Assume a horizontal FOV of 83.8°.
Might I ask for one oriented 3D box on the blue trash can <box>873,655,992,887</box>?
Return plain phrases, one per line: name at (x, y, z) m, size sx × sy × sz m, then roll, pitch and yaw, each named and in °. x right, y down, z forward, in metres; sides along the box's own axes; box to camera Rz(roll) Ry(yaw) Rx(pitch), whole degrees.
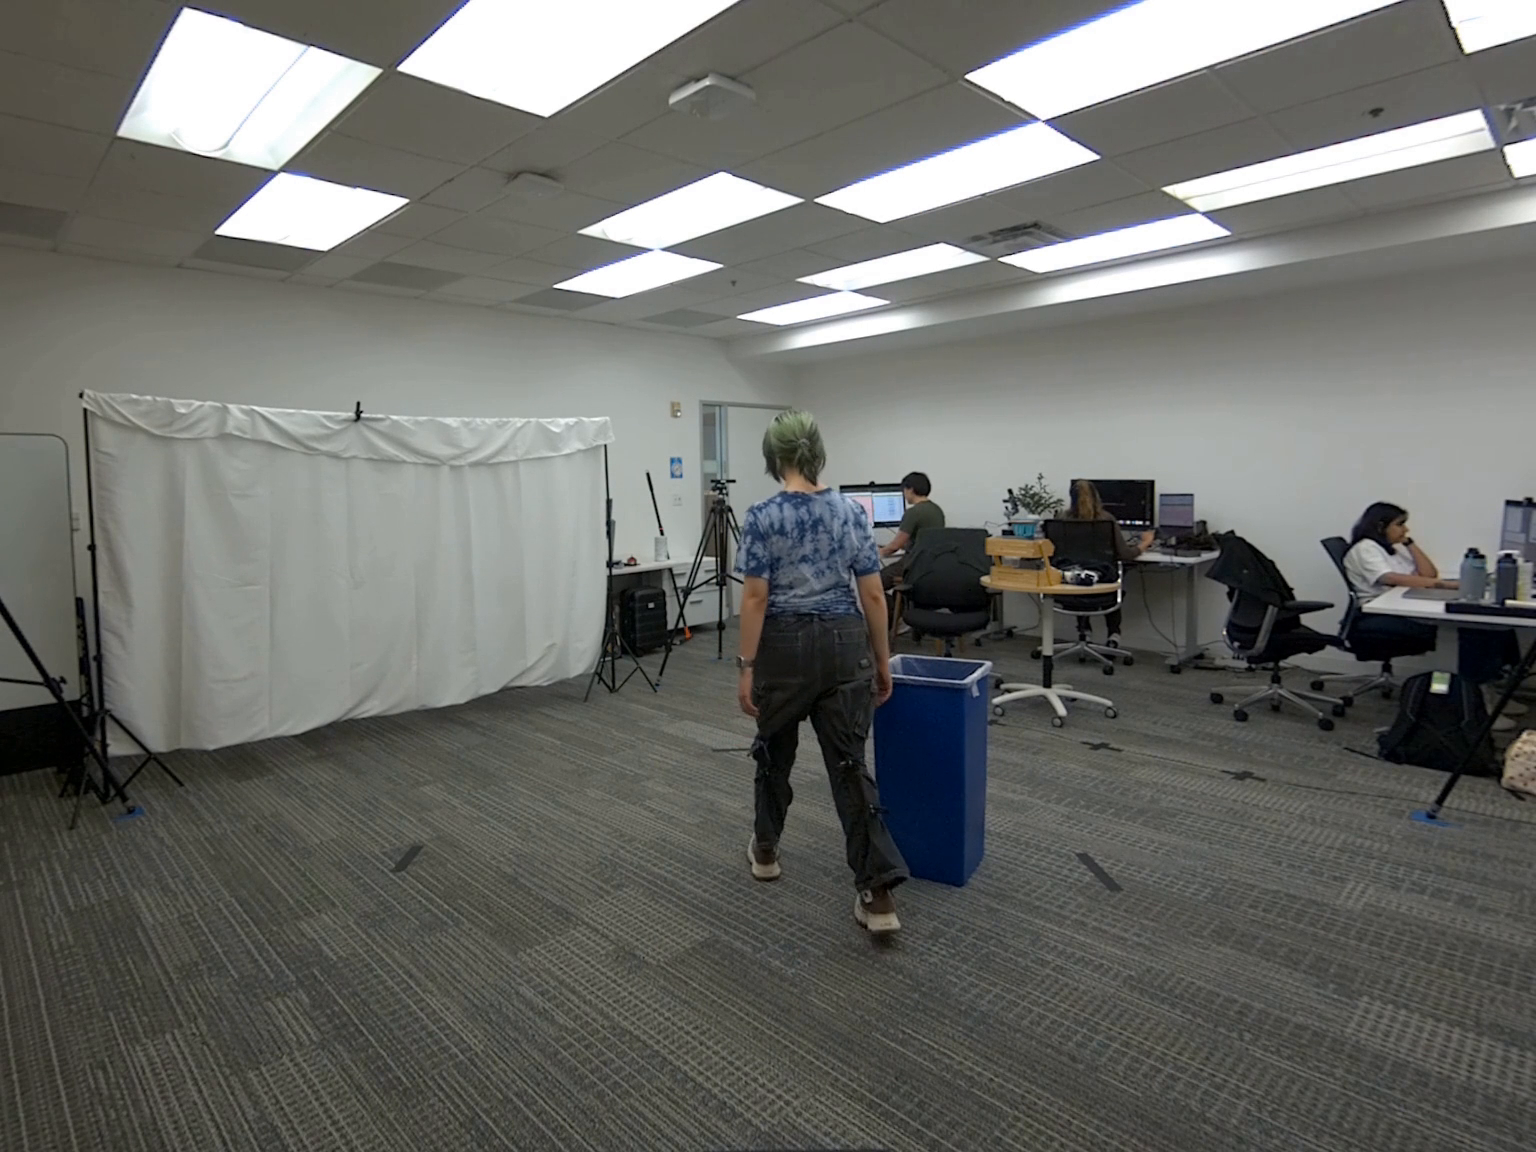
blue trash can at (0.584, 0.680, 3.083) m, size 0.384 × 0.711 × 0.370 m, roll 1°, pitch 4°, yaw 30°
